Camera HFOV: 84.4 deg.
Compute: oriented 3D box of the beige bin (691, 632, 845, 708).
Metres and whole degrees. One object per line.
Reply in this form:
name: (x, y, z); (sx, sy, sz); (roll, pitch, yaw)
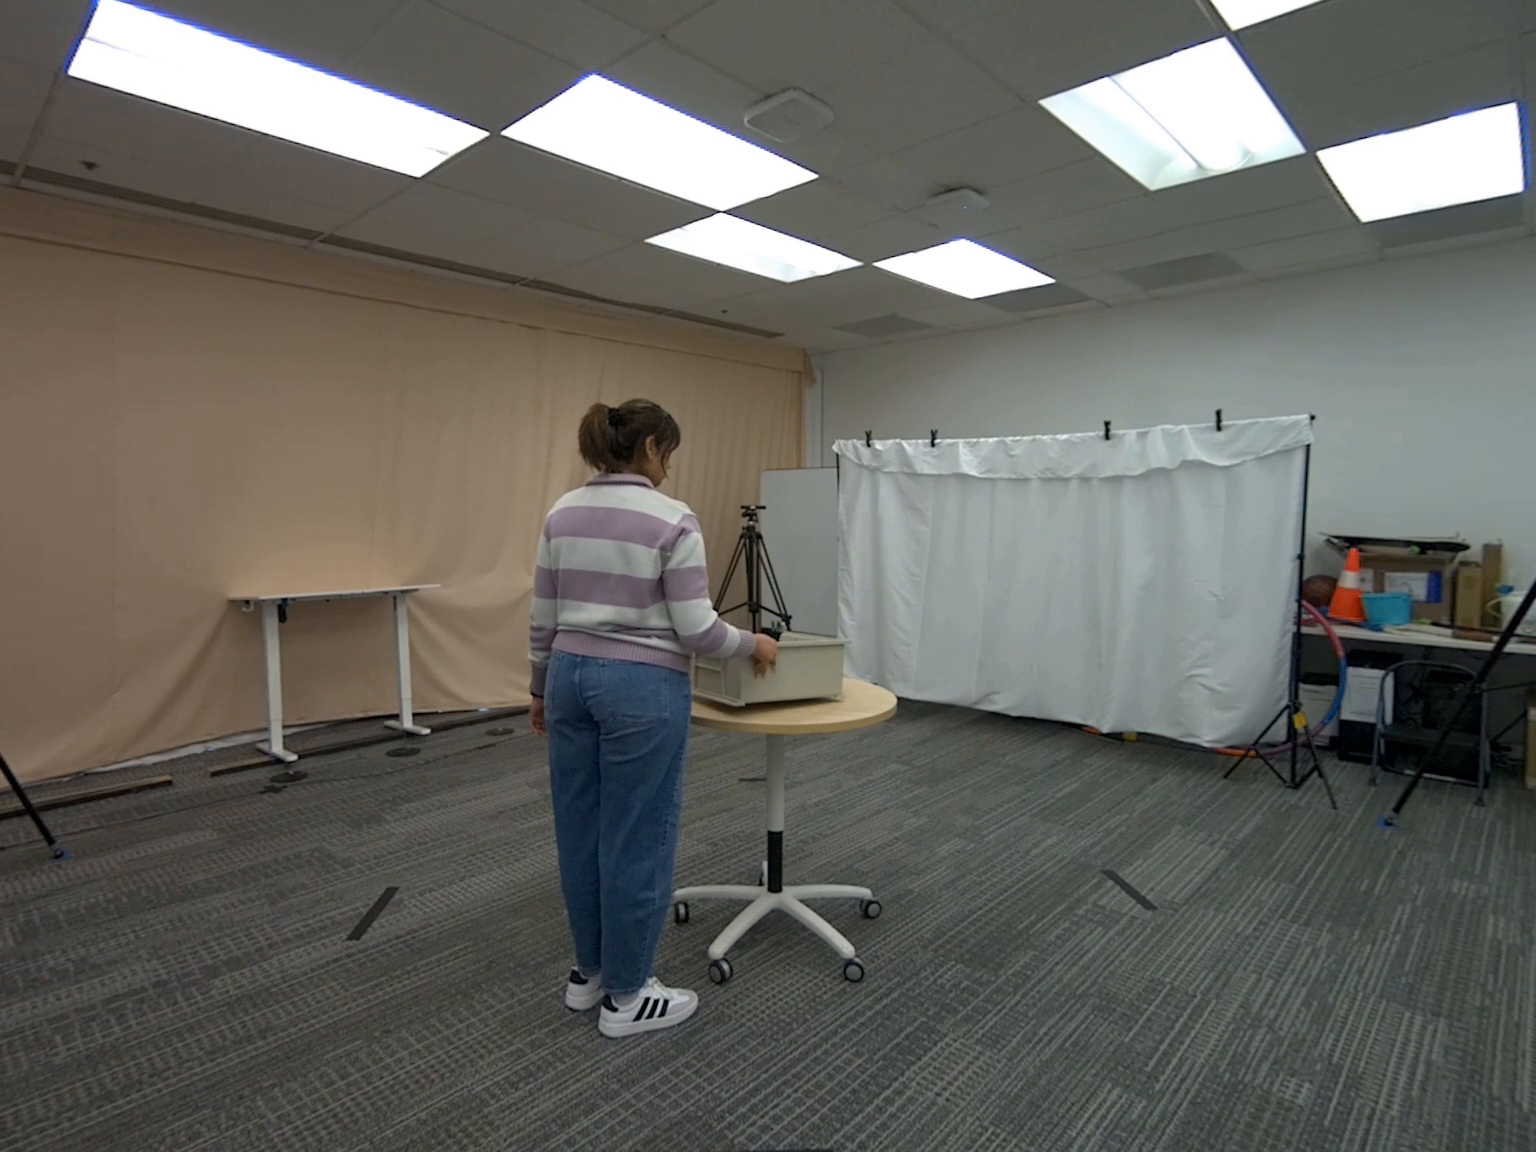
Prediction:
beige bin: (-0.018, 0.281, 2.651); (0.410, 0.189, 0.389); (2, 2, -33)
